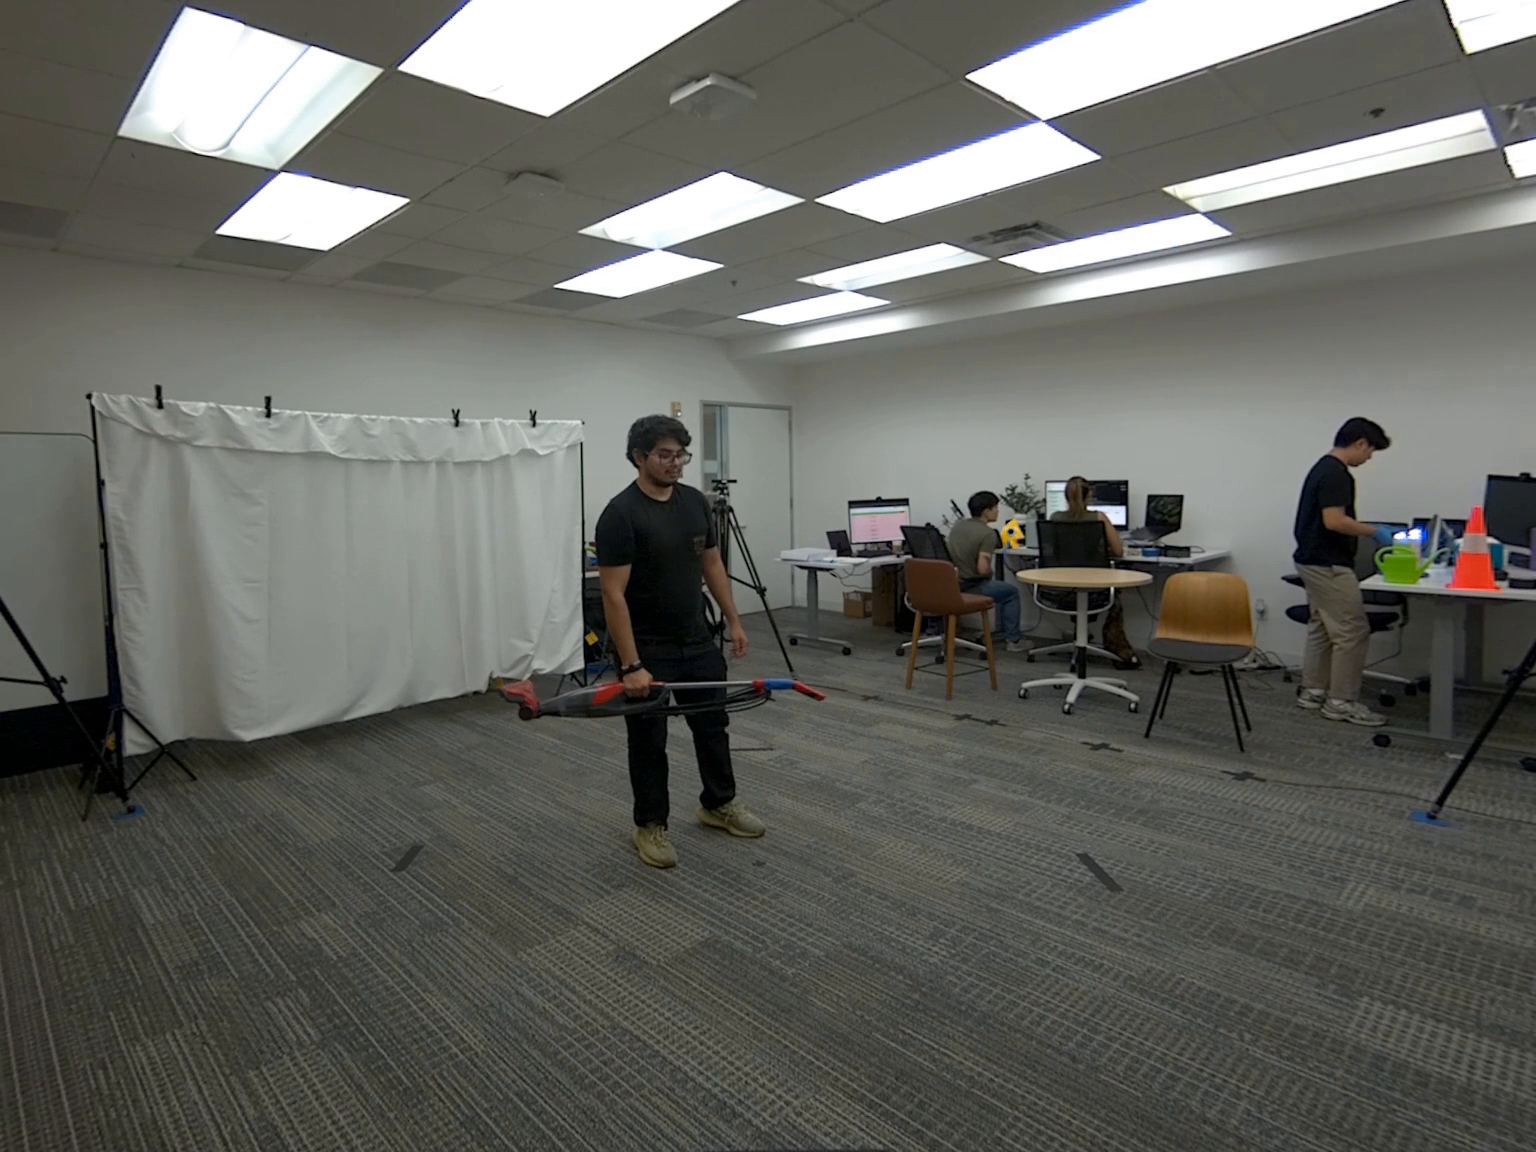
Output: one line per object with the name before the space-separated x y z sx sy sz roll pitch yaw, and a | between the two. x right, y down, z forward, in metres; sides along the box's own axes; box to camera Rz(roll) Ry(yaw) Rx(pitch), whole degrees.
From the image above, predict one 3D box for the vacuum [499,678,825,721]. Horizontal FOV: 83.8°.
vacuum | -0.335 0.423 2.912 1.057 0.144 0.250 -3 0 8
